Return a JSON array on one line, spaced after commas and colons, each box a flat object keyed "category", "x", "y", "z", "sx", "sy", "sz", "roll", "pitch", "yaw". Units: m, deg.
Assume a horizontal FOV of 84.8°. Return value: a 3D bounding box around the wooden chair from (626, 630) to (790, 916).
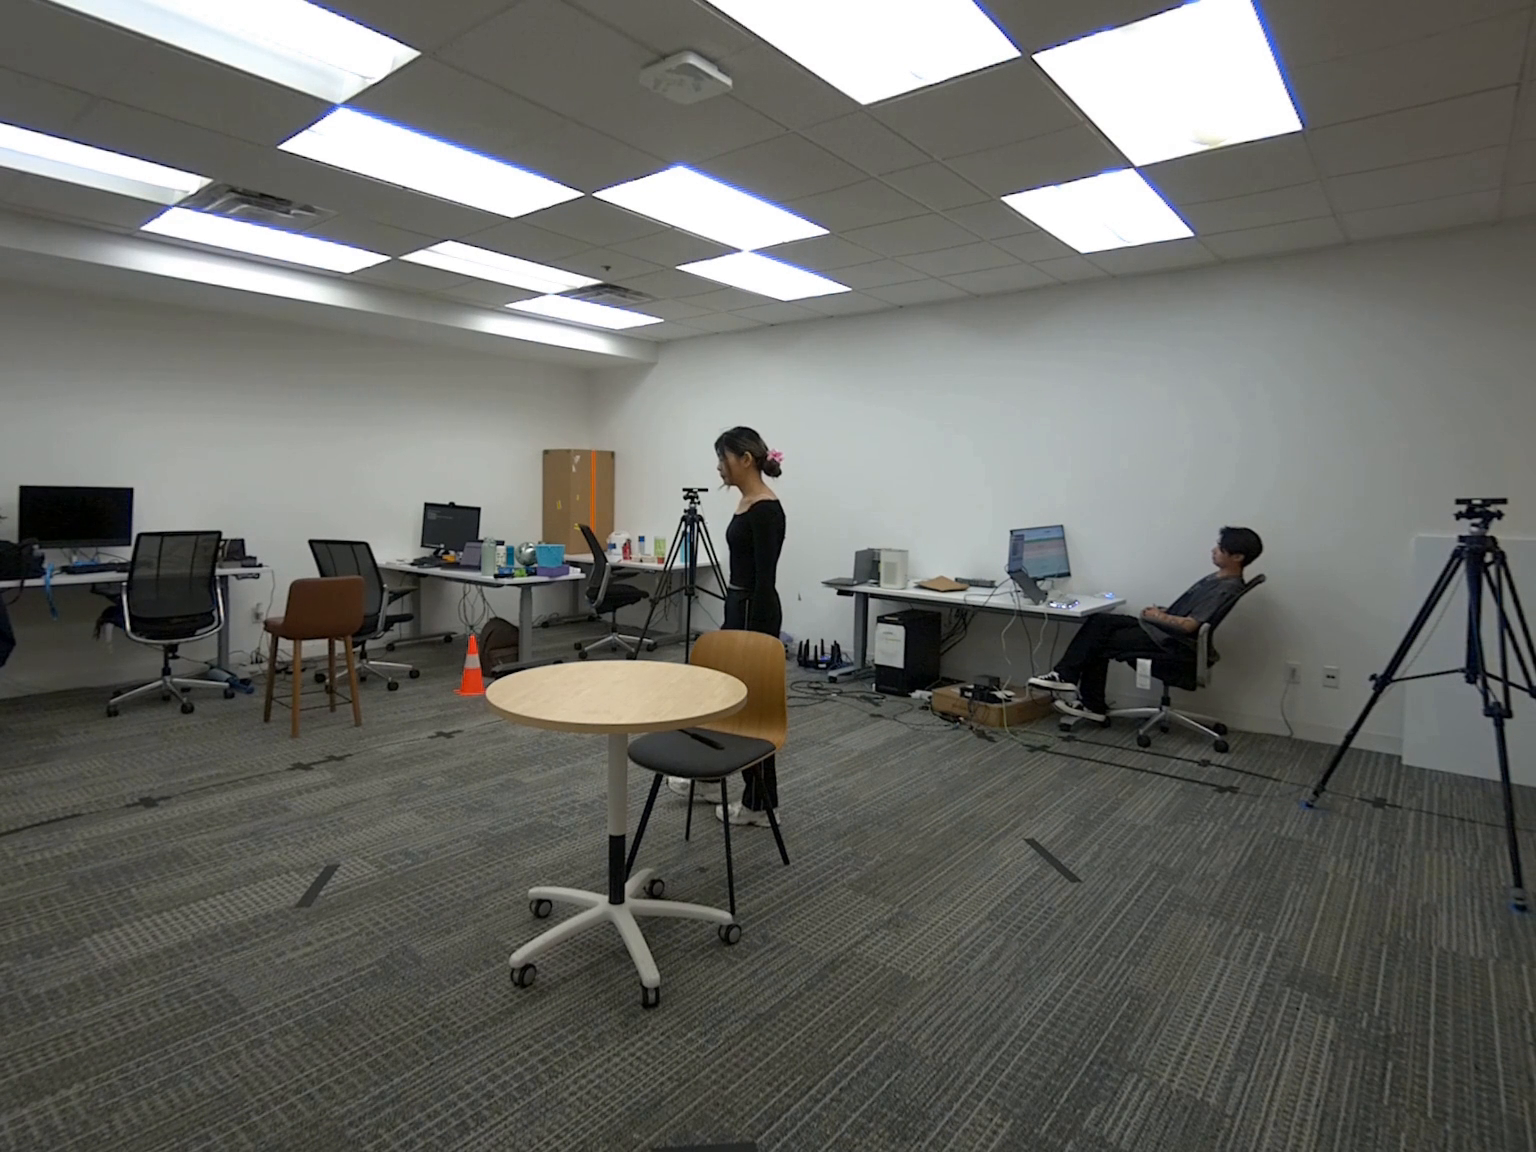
[{"category": "wooden chair", "x": -0.221, "y": 0.646, "z": 3.046, "sx": 0.492, "sy": 0.878, "sz": 0.508, "roll": 3, "pitch": -1, "yaw": 28}]
